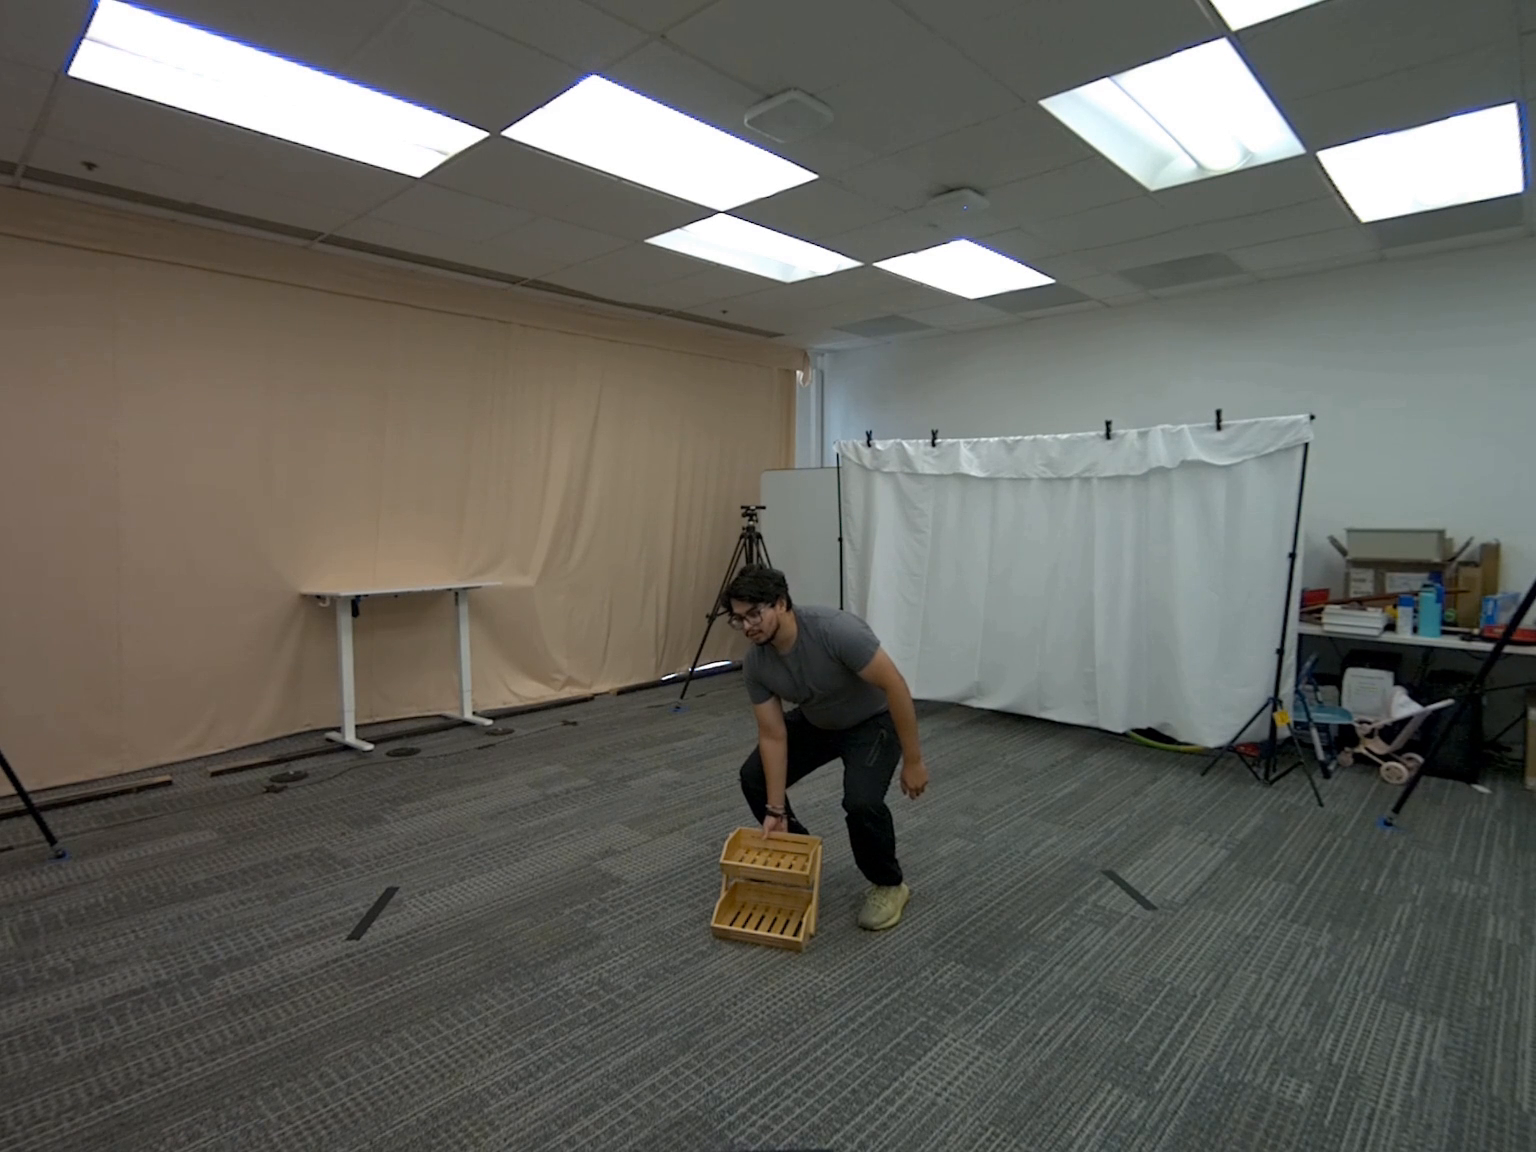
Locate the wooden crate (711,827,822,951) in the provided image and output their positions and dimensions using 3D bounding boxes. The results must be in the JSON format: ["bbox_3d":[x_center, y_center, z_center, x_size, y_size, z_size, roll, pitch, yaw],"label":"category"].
[{"bbox_3d":[0.007,1.025,2.787,0.331,0.273,0.297,2,3,17],"label":"wooden crate"}]
